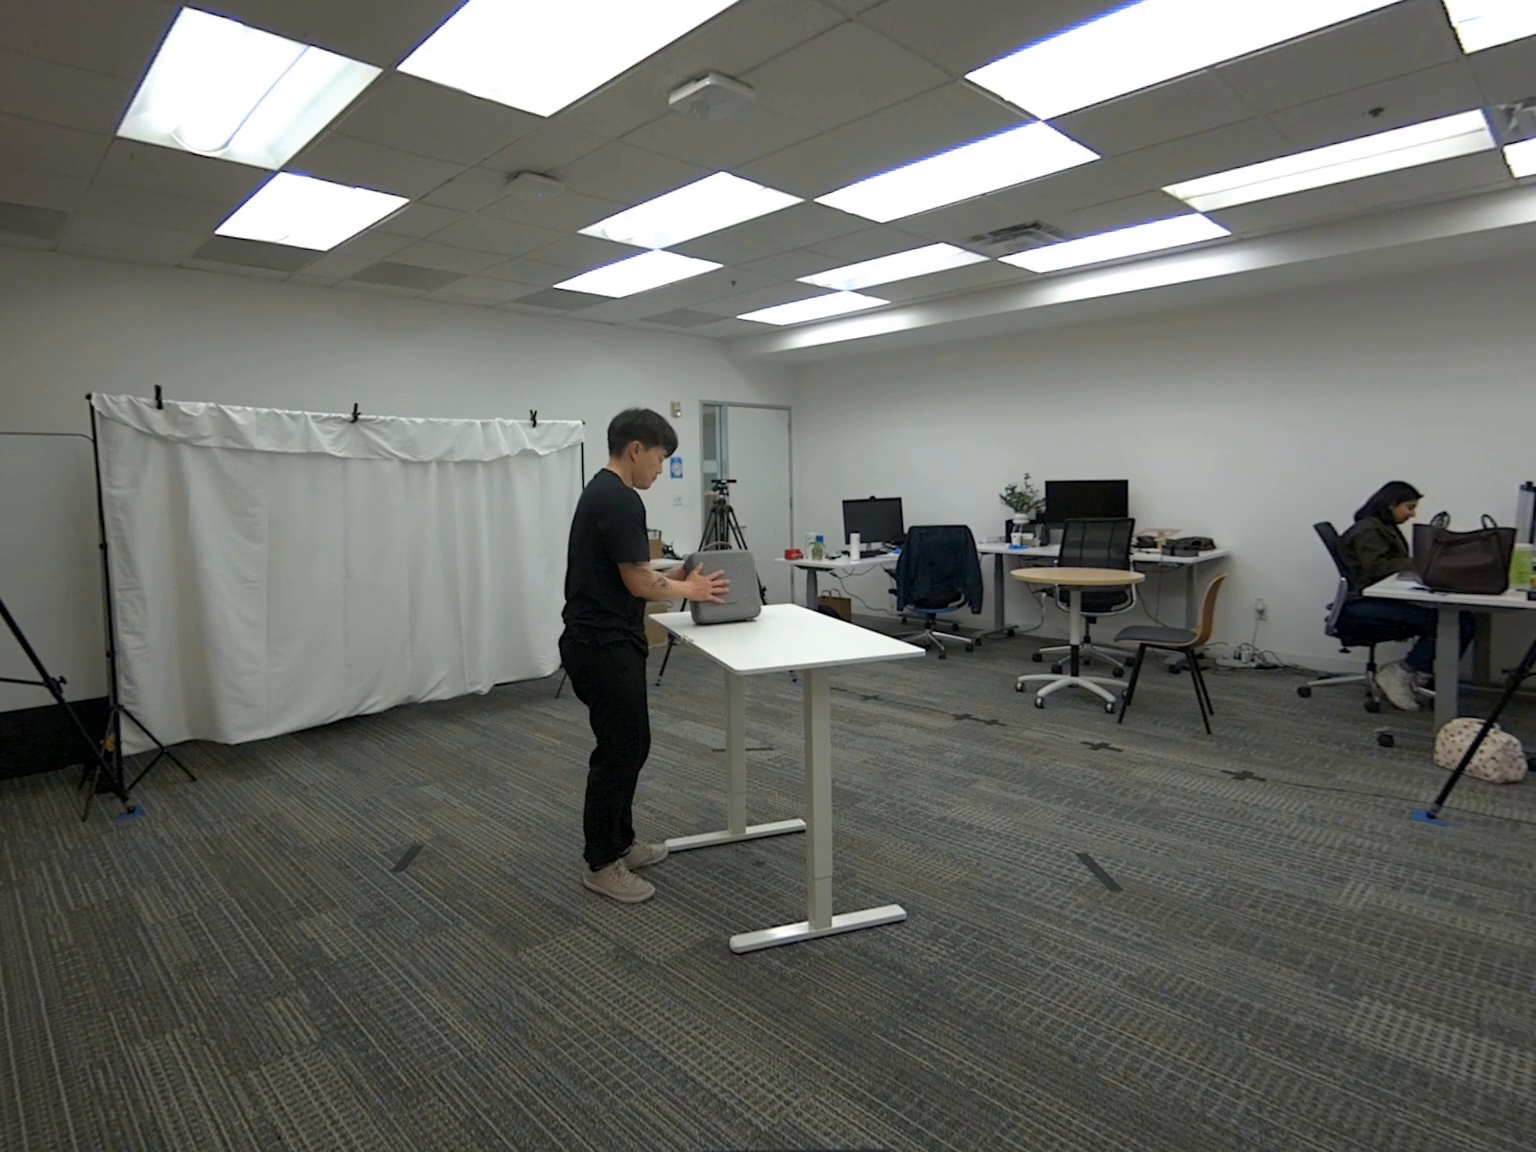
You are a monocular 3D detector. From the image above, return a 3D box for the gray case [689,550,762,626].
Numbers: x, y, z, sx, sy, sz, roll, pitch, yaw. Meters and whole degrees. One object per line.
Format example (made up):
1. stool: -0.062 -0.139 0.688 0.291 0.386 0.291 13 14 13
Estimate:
1. gray case: -0.164 0.034 3.102 0.252 0.263 0.105 -4 -11 -22
